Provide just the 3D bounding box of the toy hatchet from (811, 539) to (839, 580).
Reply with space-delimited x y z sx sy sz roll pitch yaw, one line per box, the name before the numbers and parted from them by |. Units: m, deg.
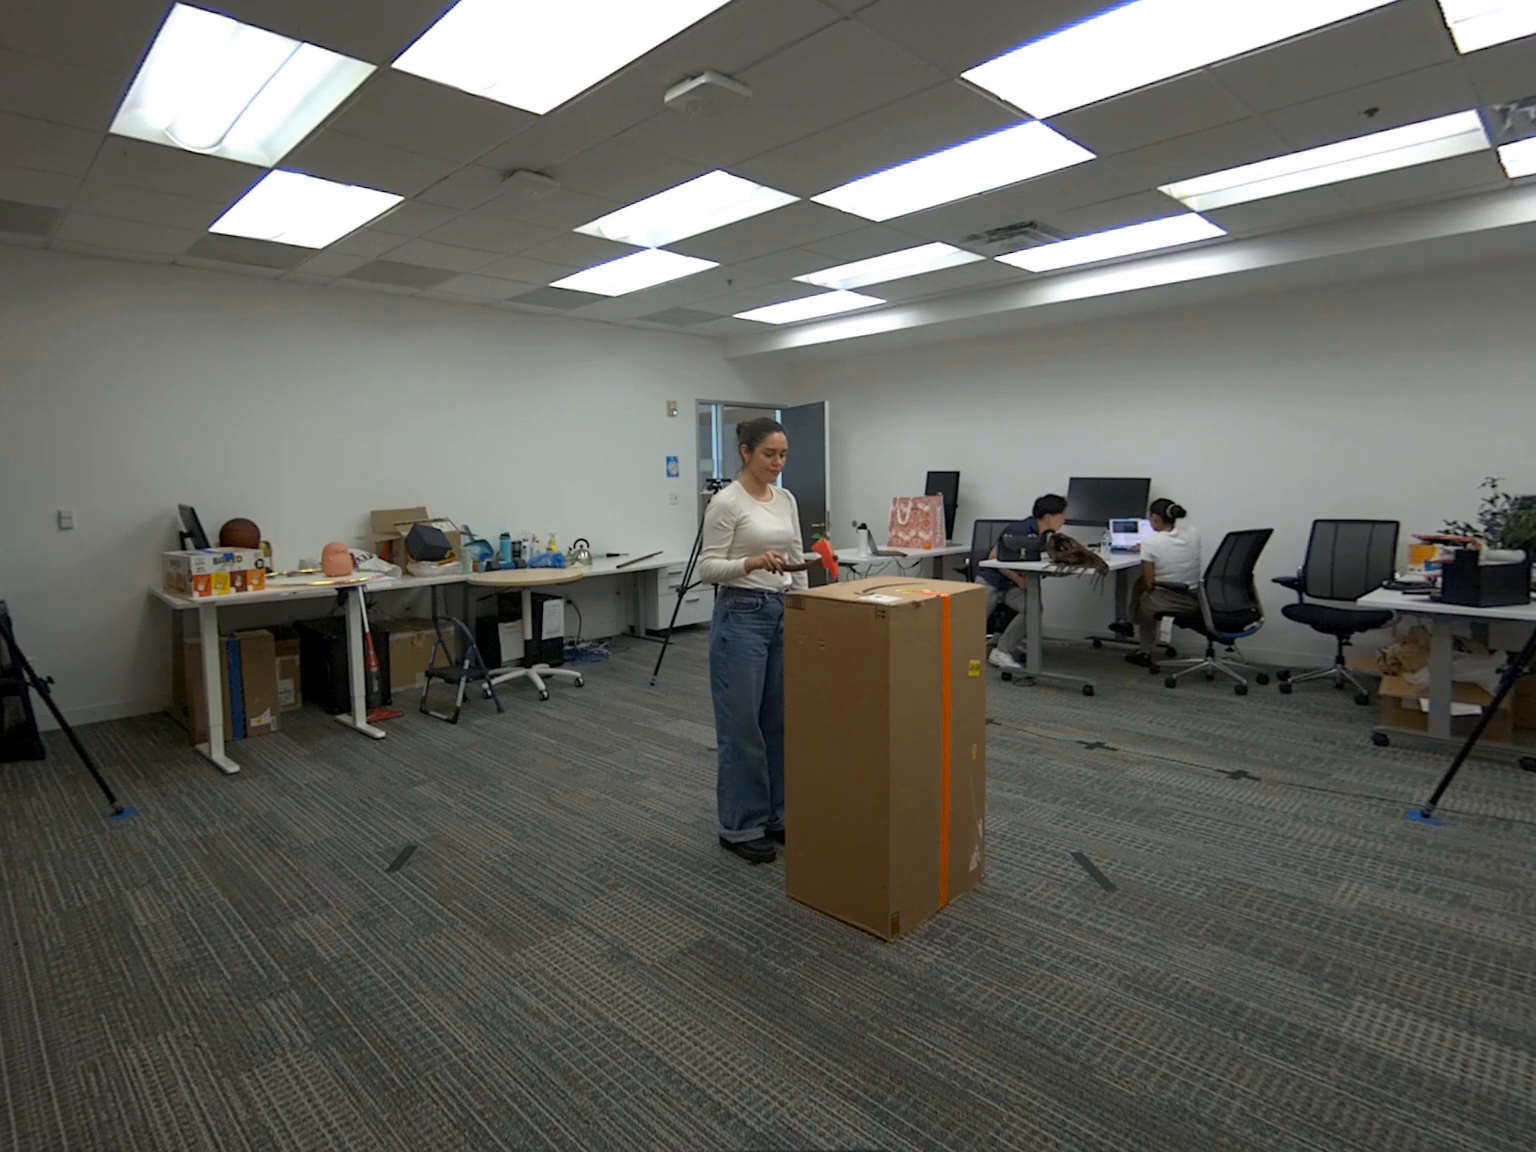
toy hatchet | 0.124 -0.065 2.843 0.279 0.129 0.029 8 19 39
